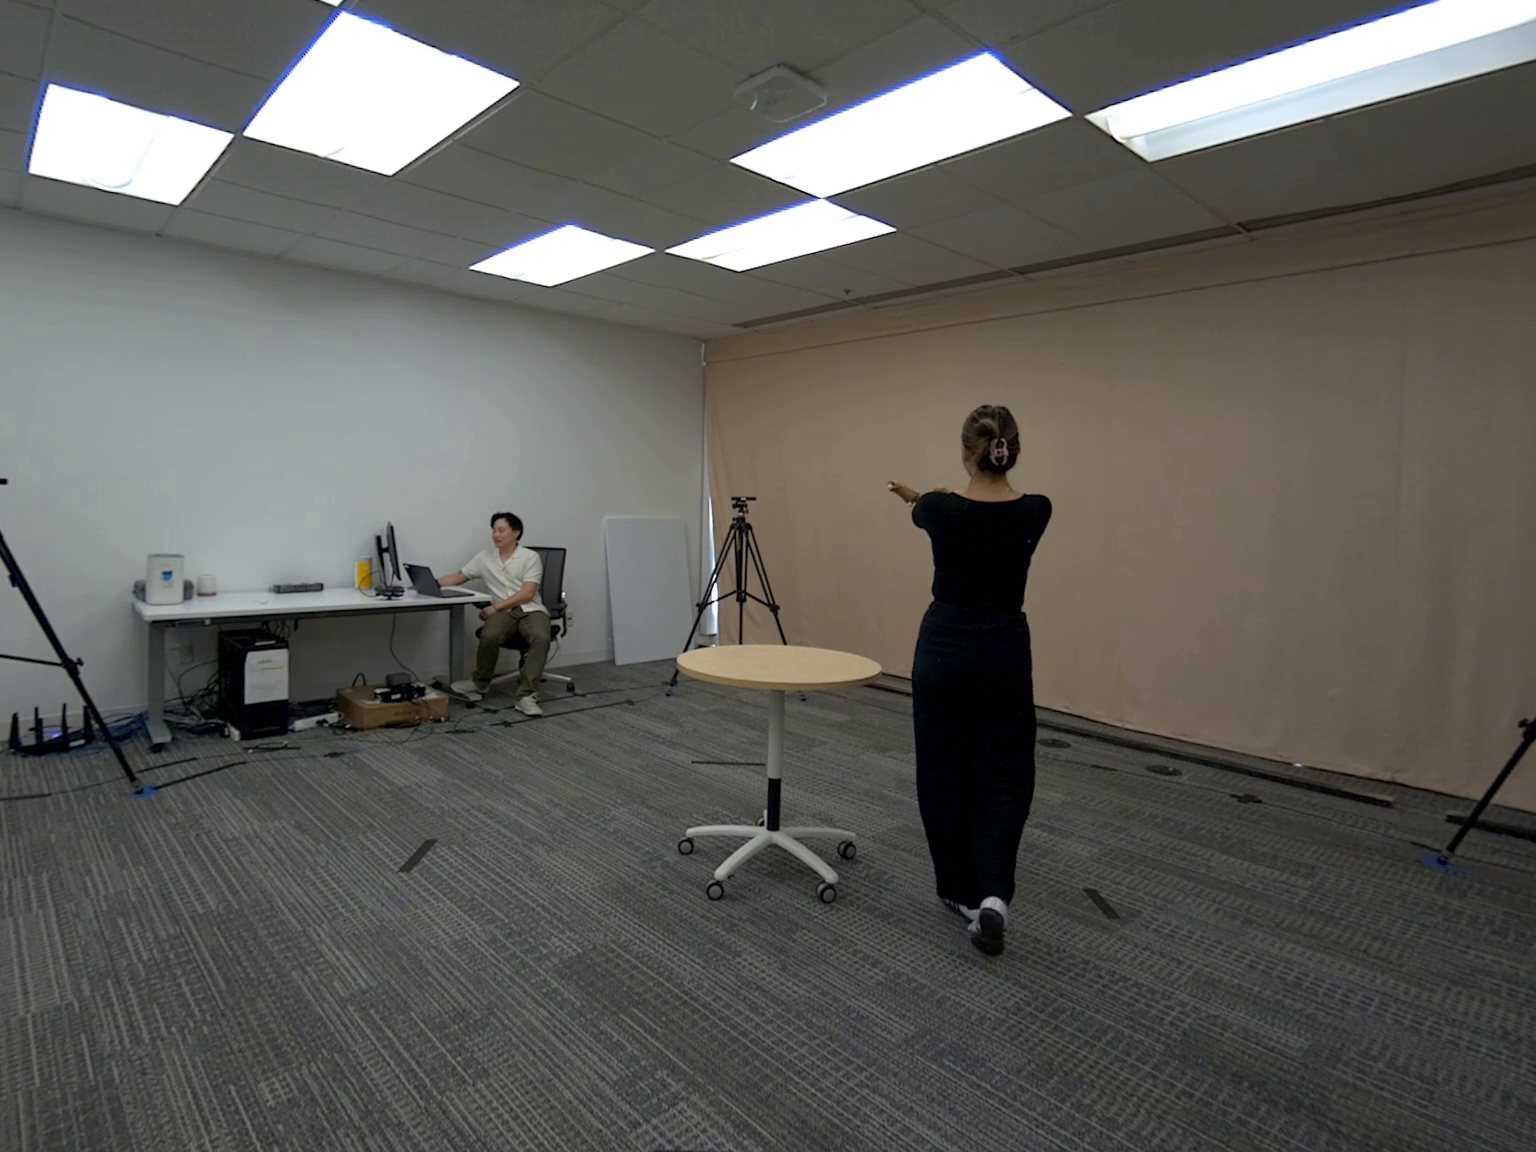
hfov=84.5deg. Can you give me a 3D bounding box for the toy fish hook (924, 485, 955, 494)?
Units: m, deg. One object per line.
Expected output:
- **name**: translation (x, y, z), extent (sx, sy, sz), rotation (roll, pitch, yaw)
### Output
- **toy fish hook**: translation (0.693, -0.277, 3.298), extent (0.503, 0.227, 0.048), rotation (28, -32, -7)
